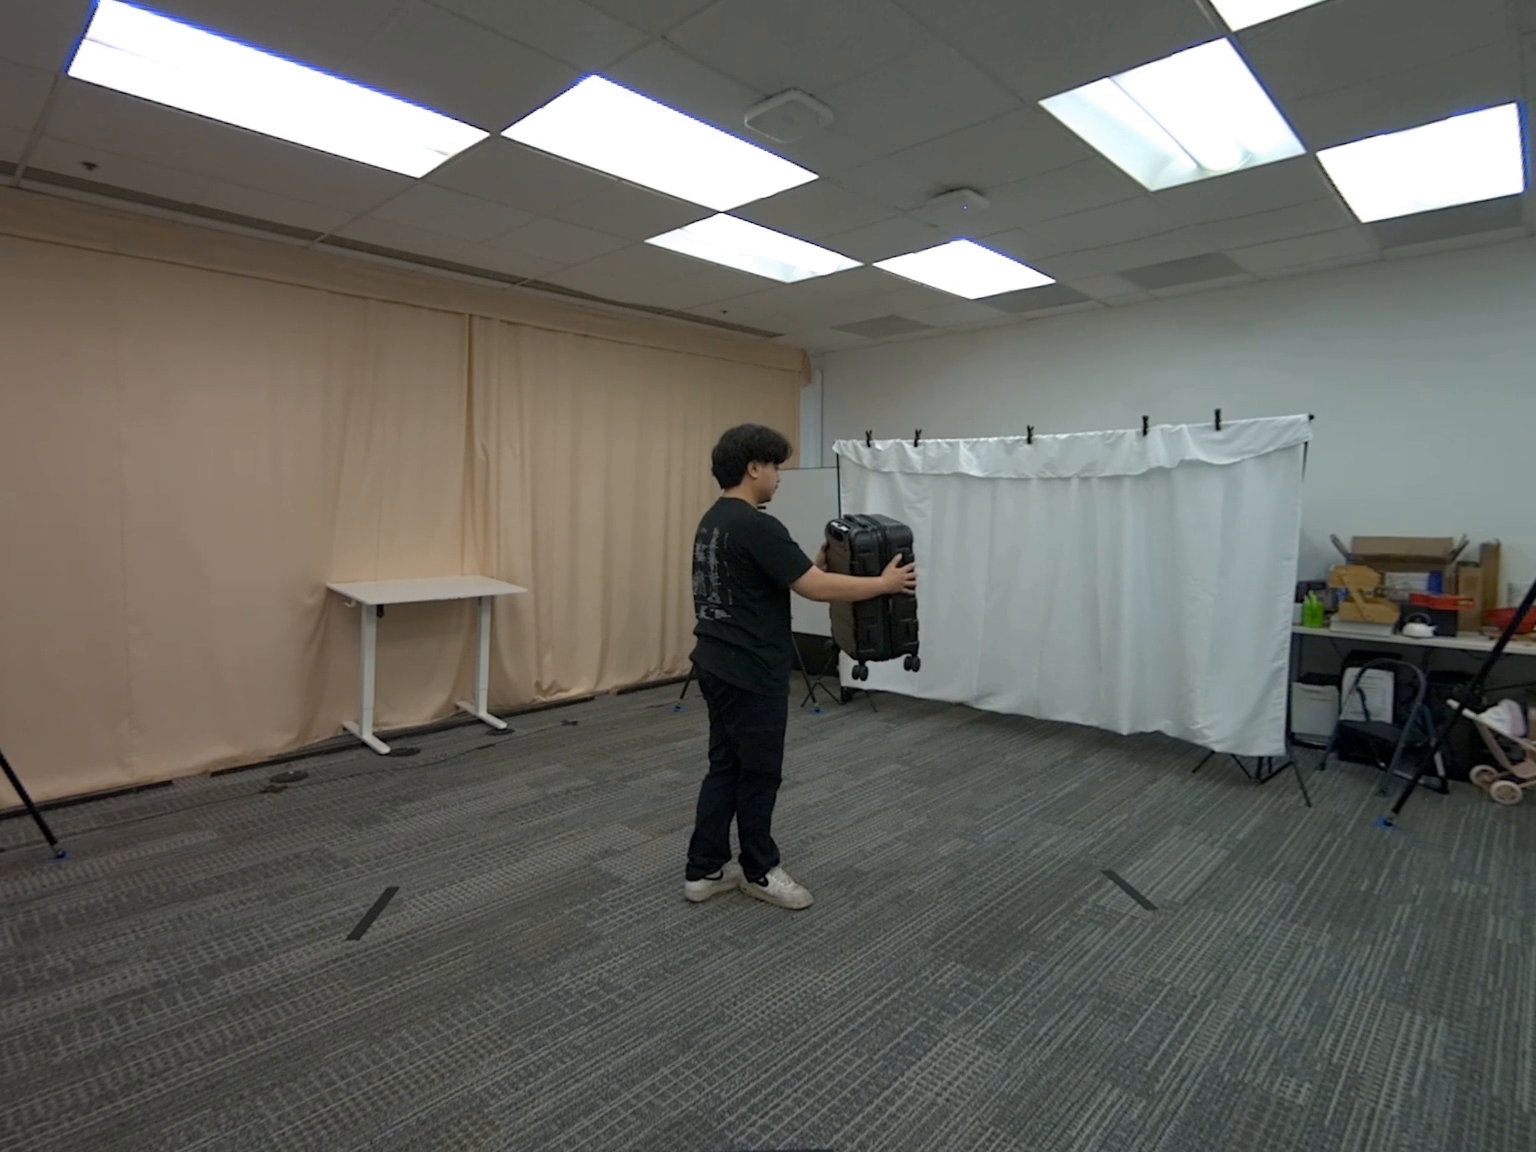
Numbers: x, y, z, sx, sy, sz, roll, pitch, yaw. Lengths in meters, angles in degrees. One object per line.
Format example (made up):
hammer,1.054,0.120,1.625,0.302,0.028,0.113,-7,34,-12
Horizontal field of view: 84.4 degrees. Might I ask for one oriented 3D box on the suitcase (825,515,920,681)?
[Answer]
suitcase,0.383,0.049,3.102,0.246,0.545,0.382,-7,11,-10
